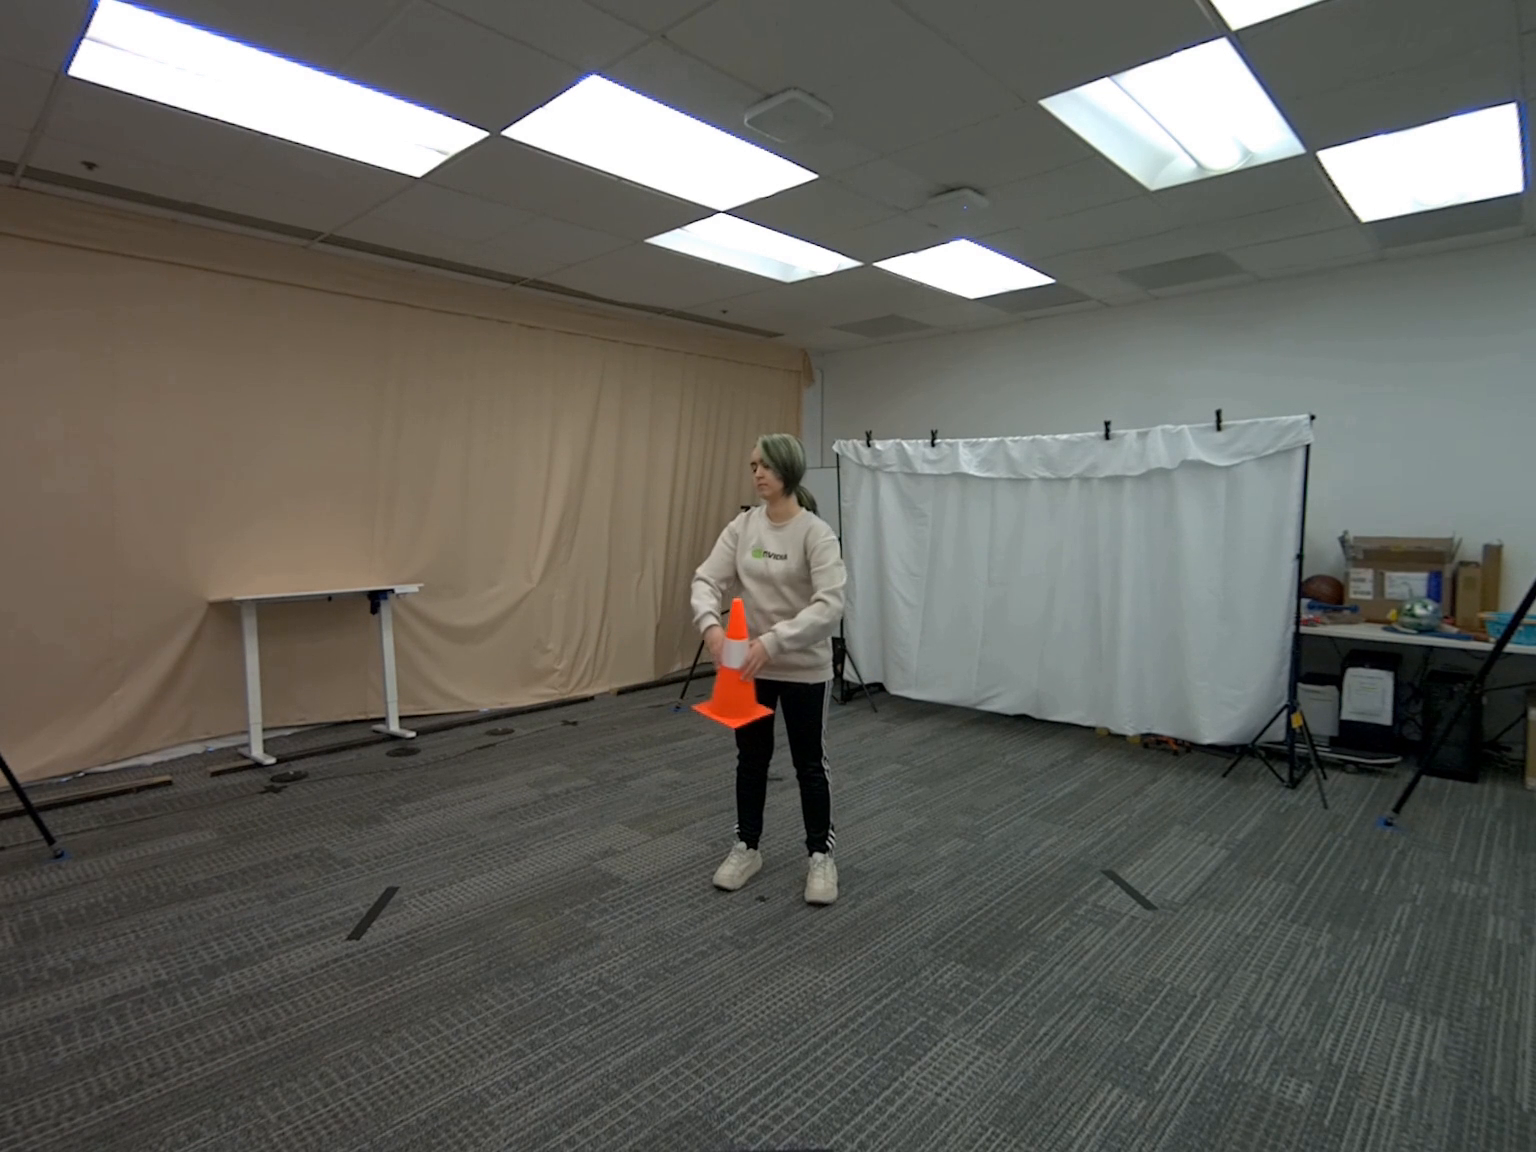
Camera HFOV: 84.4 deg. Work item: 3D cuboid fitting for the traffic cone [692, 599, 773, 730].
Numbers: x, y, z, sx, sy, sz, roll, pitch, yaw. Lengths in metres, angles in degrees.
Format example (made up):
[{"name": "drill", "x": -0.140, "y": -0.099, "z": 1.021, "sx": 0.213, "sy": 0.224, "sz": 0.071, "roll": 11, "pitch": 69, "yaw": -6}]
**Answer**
[{"name": "traffic cone", "x": -0.099, "y": 0.242, "z": 2.743, "sx": 0.212, "sy": 0.381, "sz": 0.198, "roll": 13, "pitch": 16, "yaw": 39}]
